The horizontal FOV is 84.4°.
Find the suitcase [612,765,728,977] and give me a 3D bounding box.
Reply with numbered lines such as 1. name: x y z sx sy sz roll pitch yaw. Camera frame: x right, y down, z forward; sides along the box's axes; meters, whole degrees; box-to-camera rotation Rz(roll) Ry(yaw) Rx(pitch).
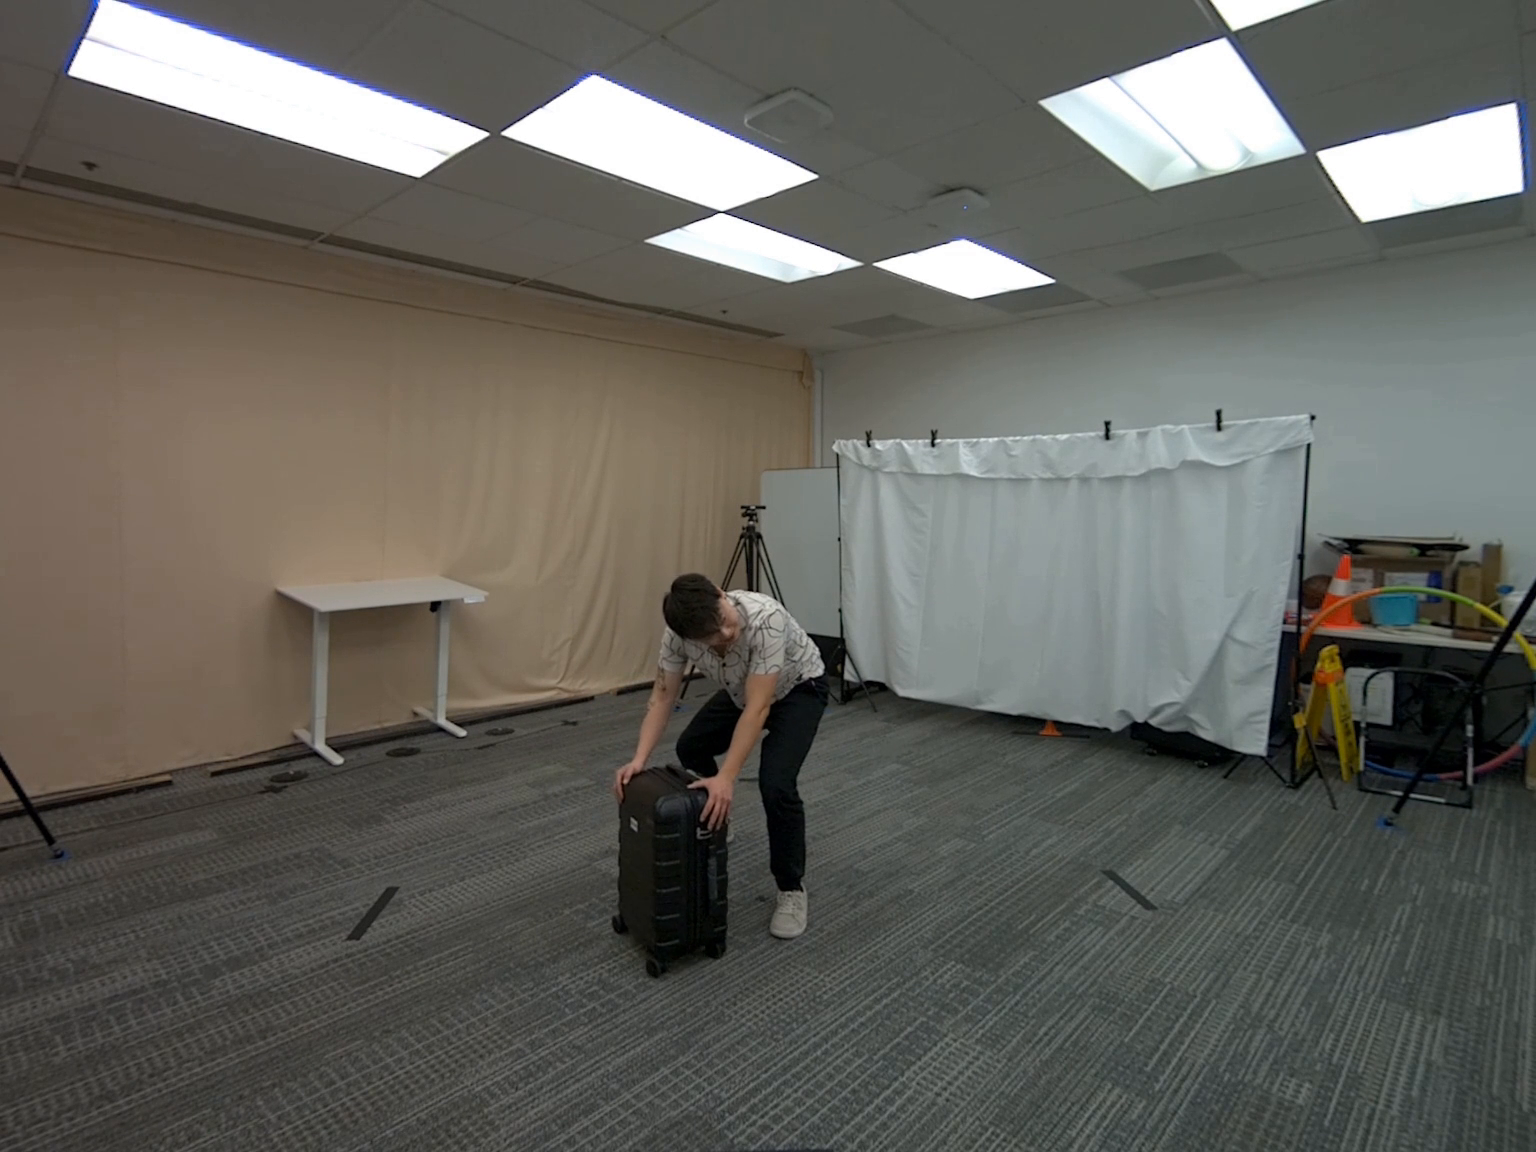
1. suitcase: -0.311 0.902 2.648 0.241 0.548 0.387 -1 5 -31
